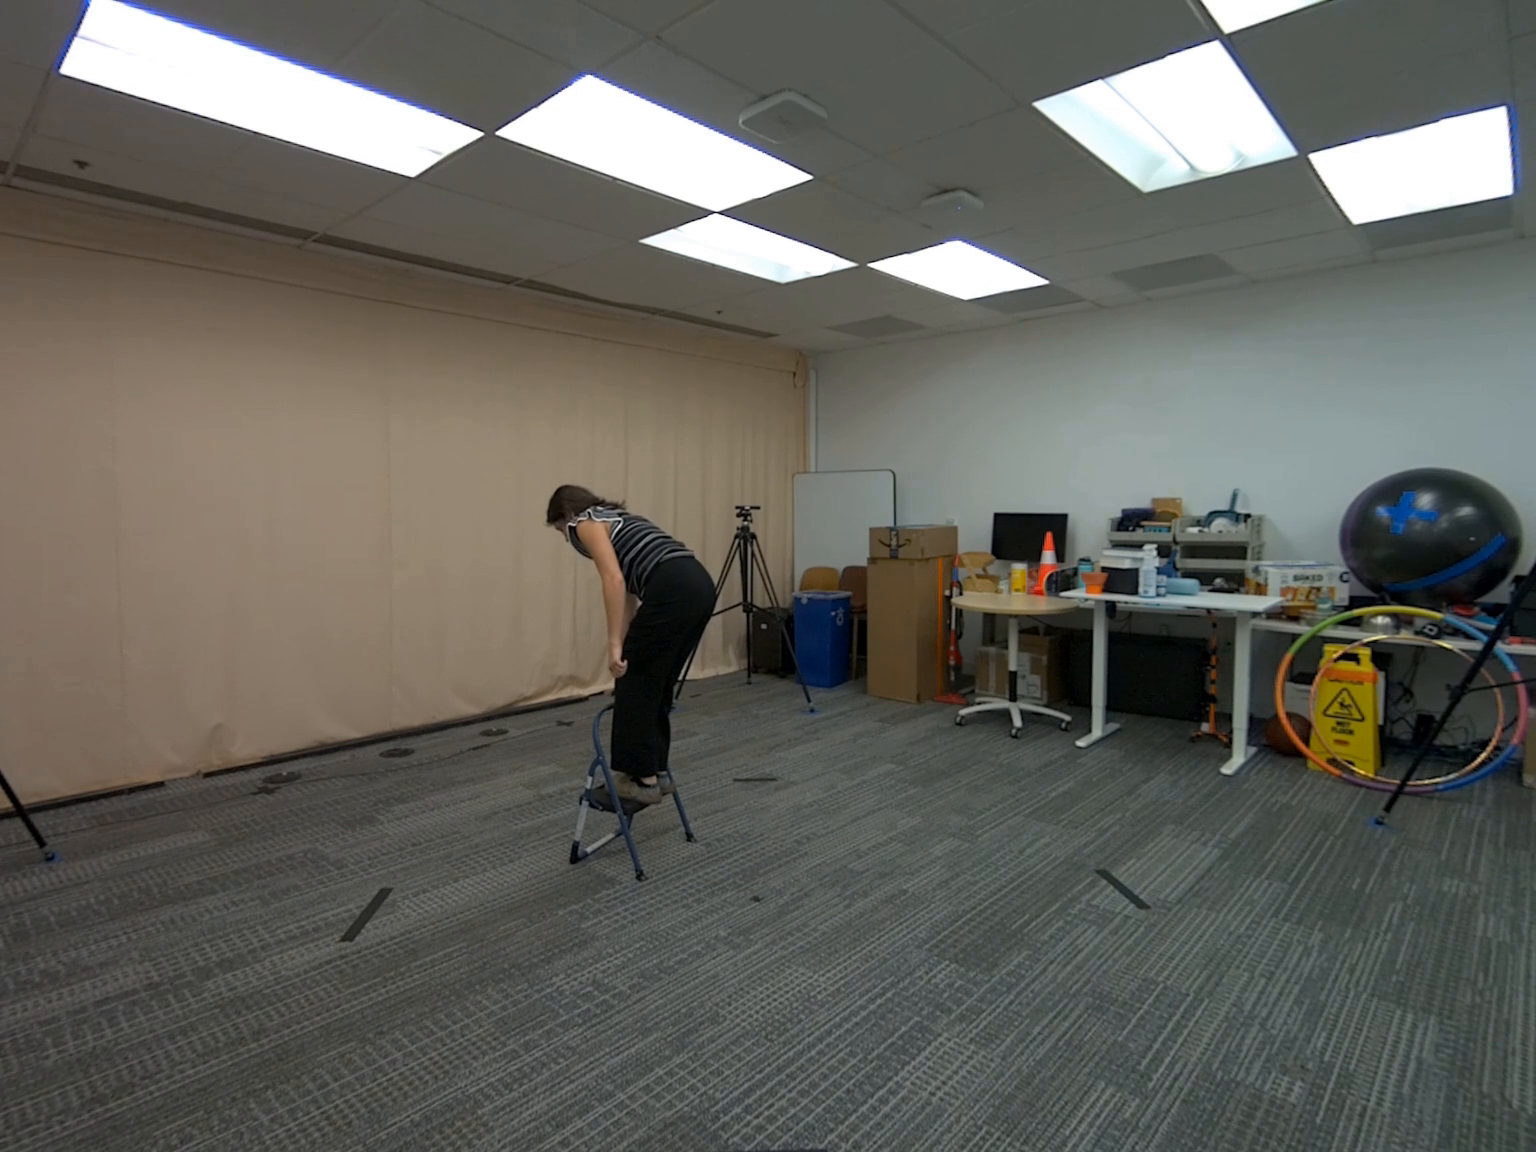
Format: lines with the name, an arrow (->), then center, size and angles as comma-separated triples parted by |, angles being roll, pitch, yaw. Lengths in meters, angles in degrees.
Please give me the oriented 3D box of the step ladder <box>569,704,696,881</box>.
step ladder -> -0.542, 0.816, 3.389 | 0.358, 0.605, 0.421 | 1, 3, 24
